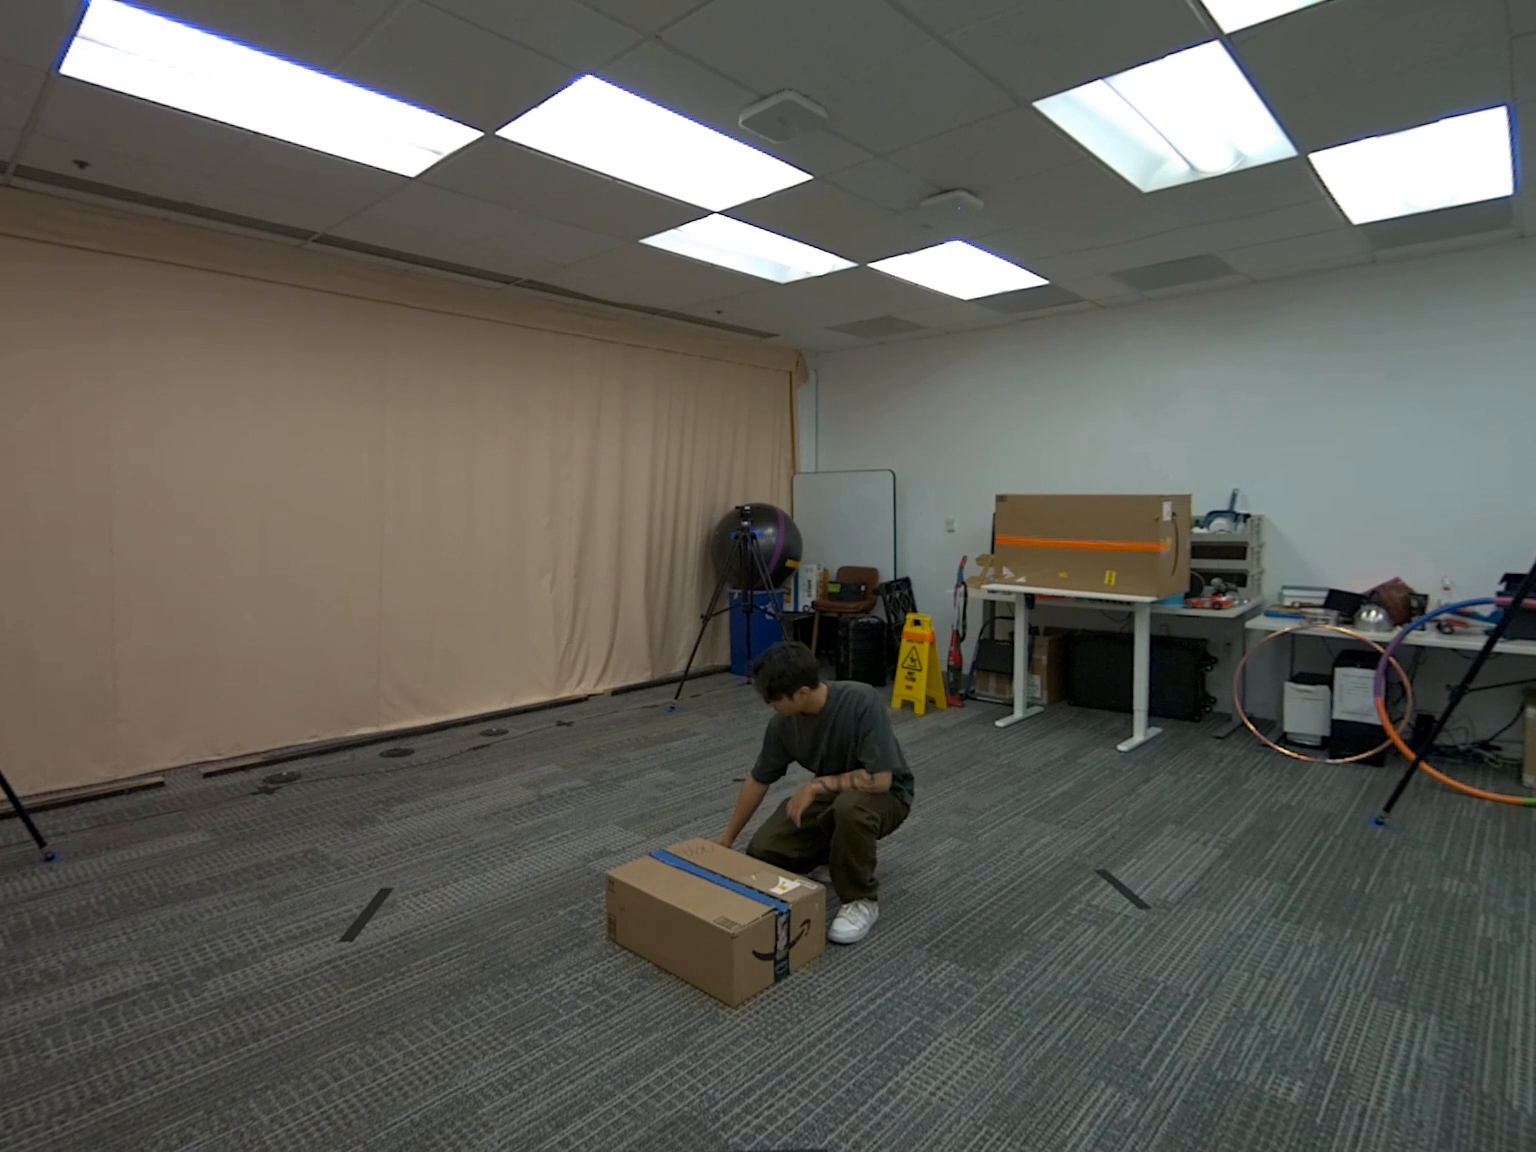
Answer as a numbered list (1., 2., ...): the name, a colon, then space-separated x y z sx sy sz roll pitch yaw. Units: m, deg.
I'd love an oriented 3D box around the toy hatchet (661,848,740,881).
1. toy hatchet: -0.264 1.113 3.278 0.264 0.029 0.134 -2 5 -25
